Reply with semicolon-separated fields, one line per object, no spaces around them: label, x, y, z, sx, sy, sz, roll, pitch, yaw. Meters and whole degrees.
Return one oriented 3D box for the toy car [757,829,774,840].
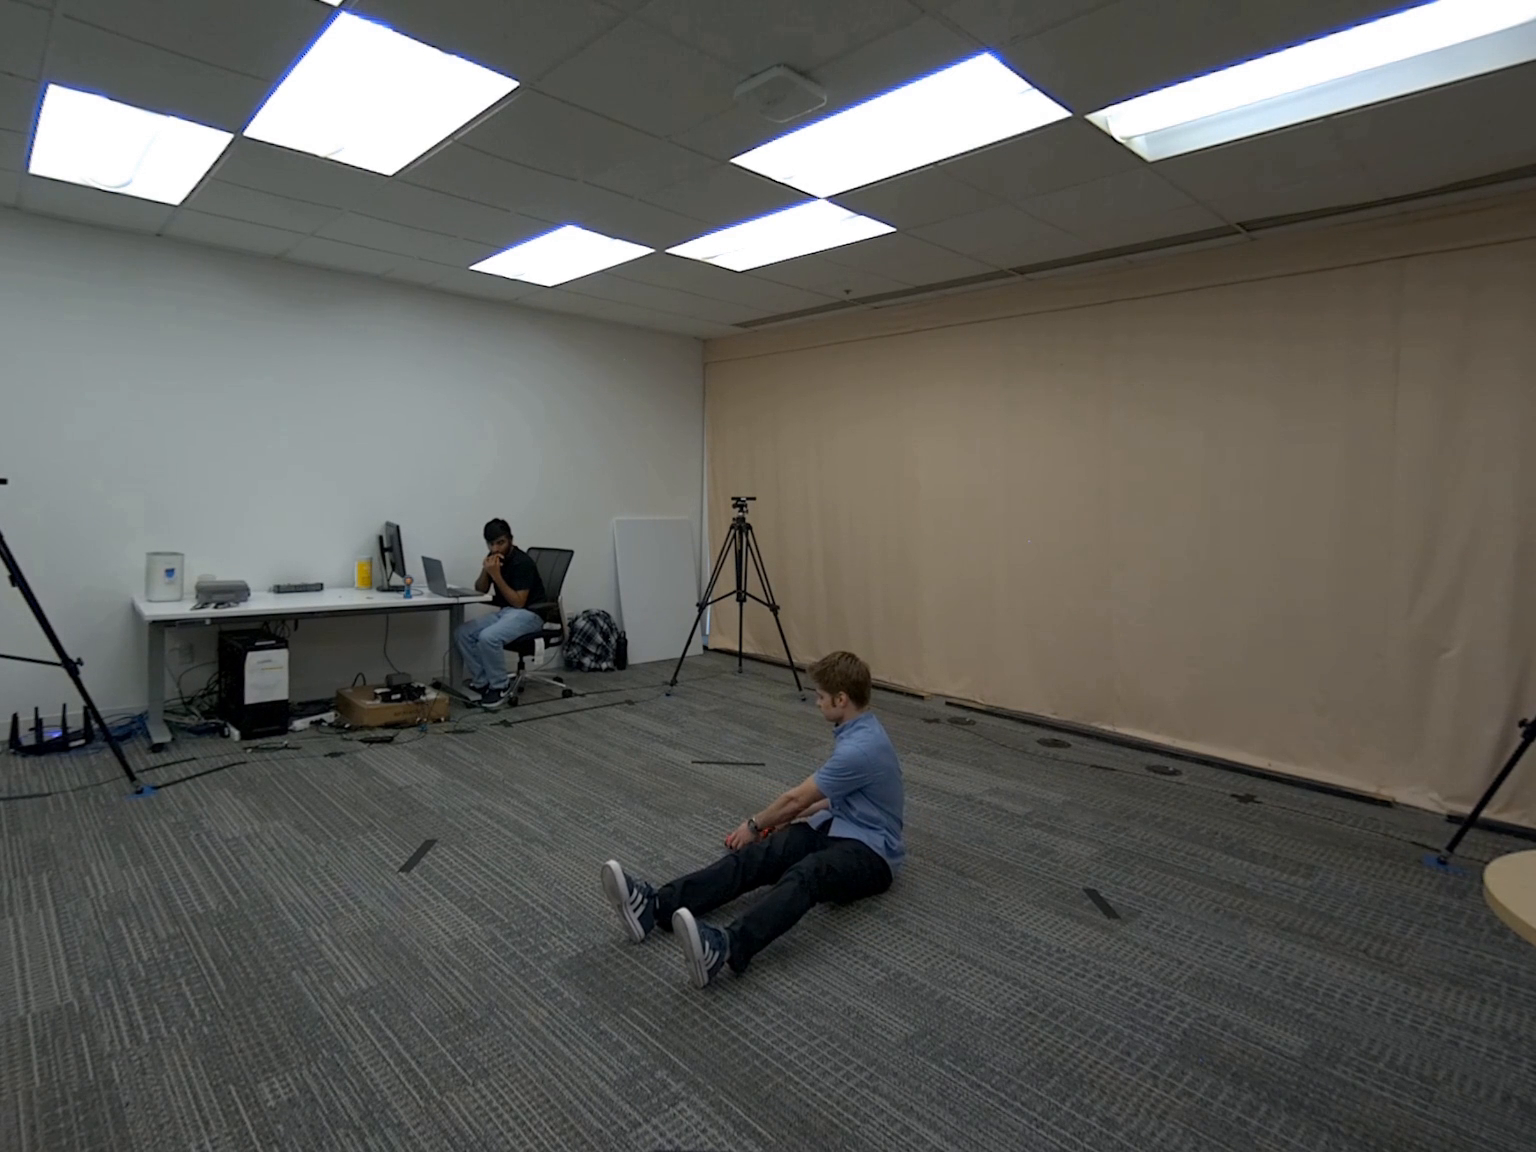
toy car;-0.077;1.054;3.416;0.132;0.083;0.251;-3;9;26
